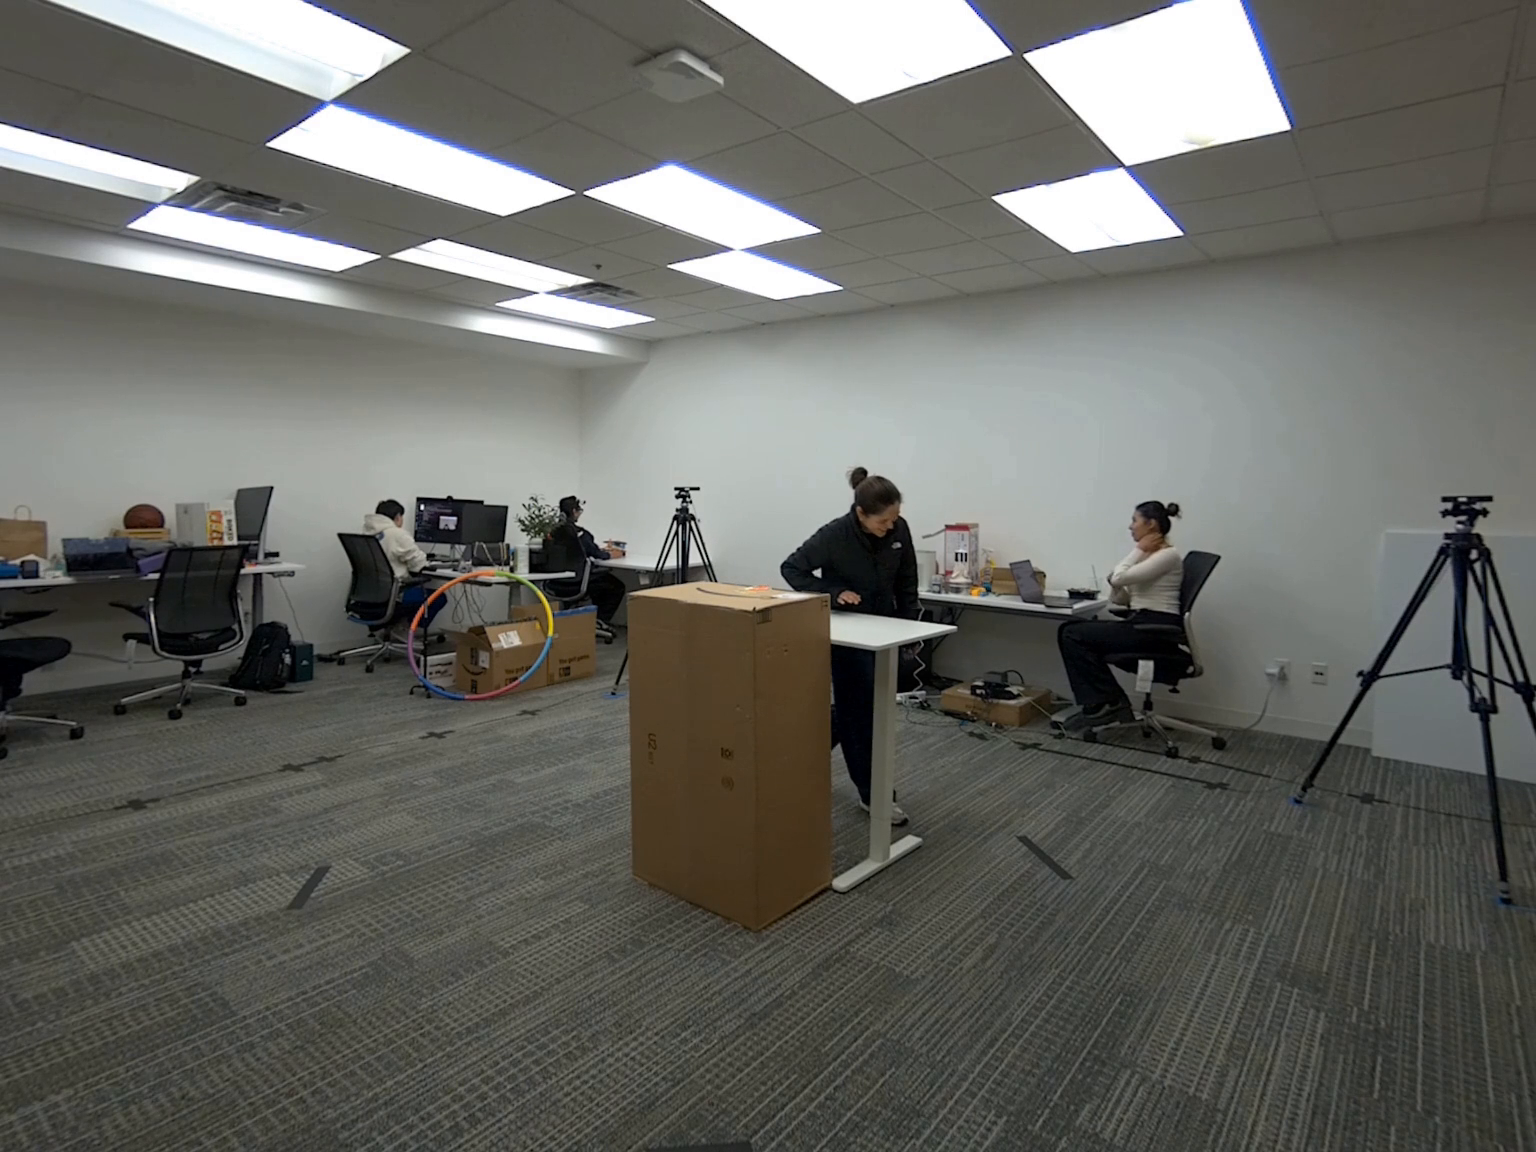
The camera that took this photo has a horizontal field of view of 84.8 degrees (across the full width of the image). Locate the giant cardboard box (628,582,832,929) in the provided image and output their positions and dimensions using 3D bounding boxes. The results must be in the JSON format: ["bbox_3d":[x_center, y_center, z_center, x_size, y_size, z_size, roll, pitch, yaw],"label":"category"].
[{"bbox_3d":[-0.123,0.565,2.978,0.603,1.023,0.434,3,5,42],"label":"giant cardboard box"}]
